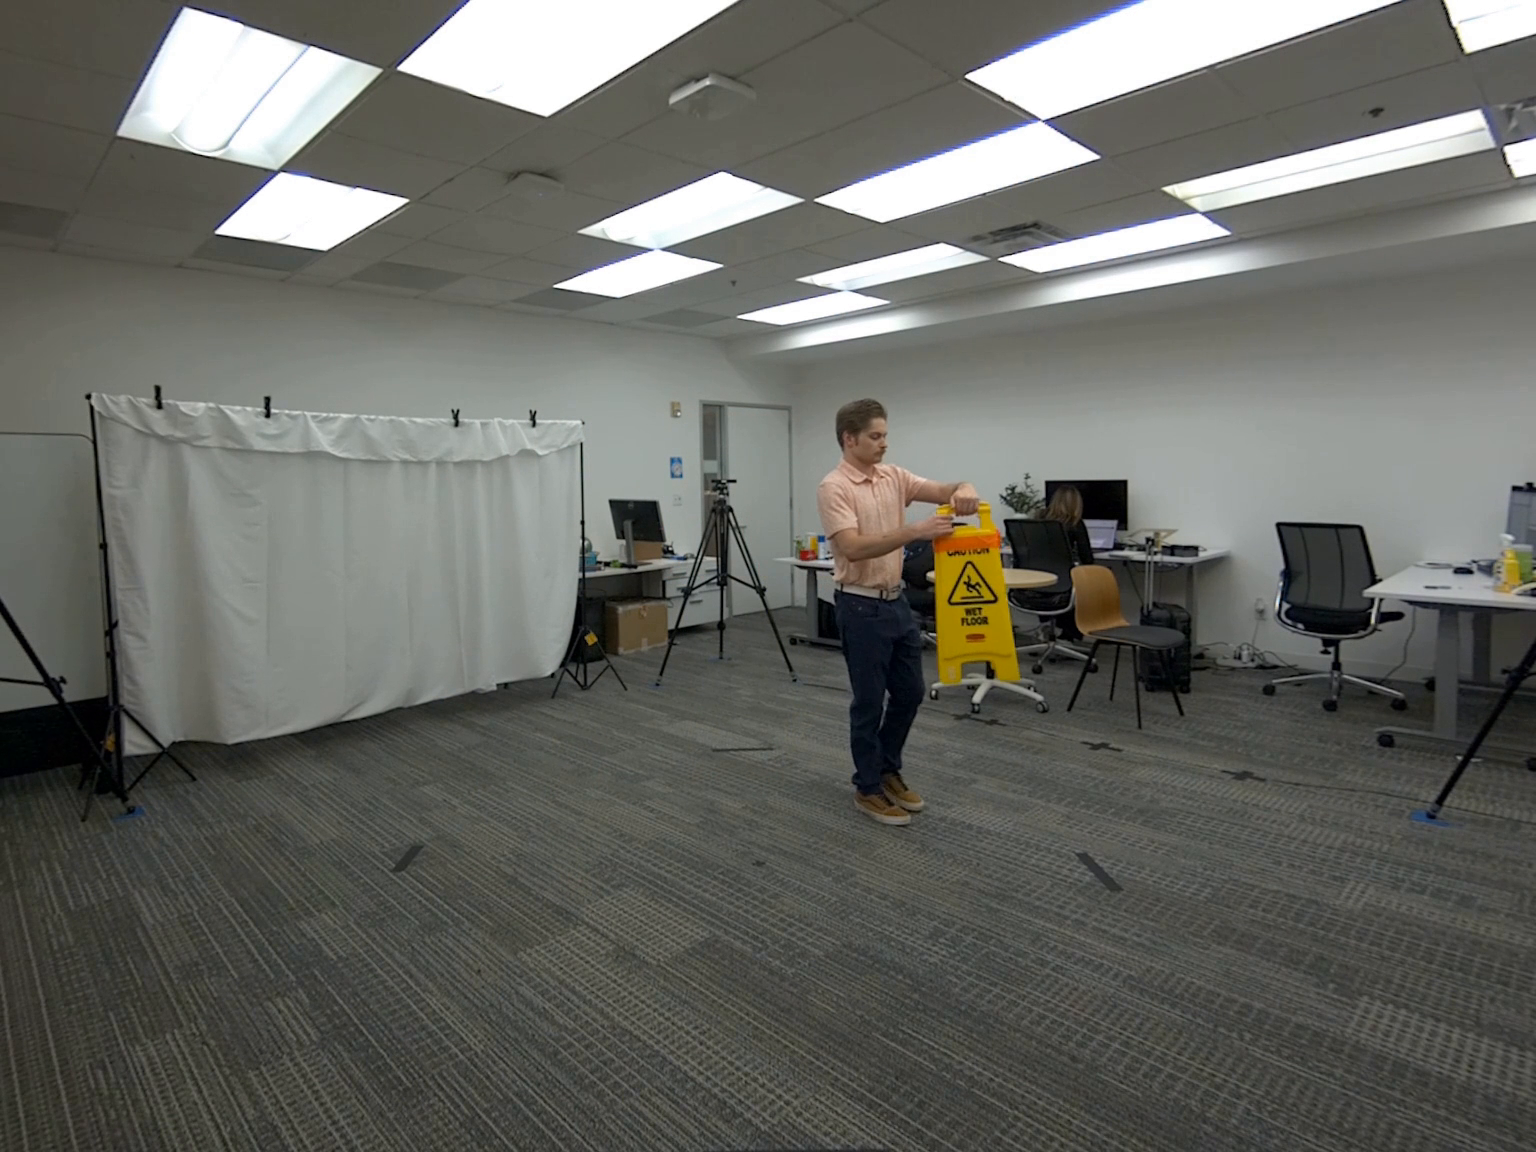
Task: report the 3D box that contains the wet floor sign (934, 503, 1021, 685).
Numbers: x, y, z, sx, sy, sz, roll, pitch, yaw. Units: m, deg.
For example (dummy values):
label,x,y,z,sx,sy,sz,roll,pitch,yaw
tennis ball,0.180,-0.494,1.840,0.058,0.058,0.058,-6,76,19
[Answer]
label,x,y,z,sx,sy,sz,roll,pitch,yaw
wet floor sign,0.755,0.062,3.216,0.285,0.645,0.287,-5,1,10
